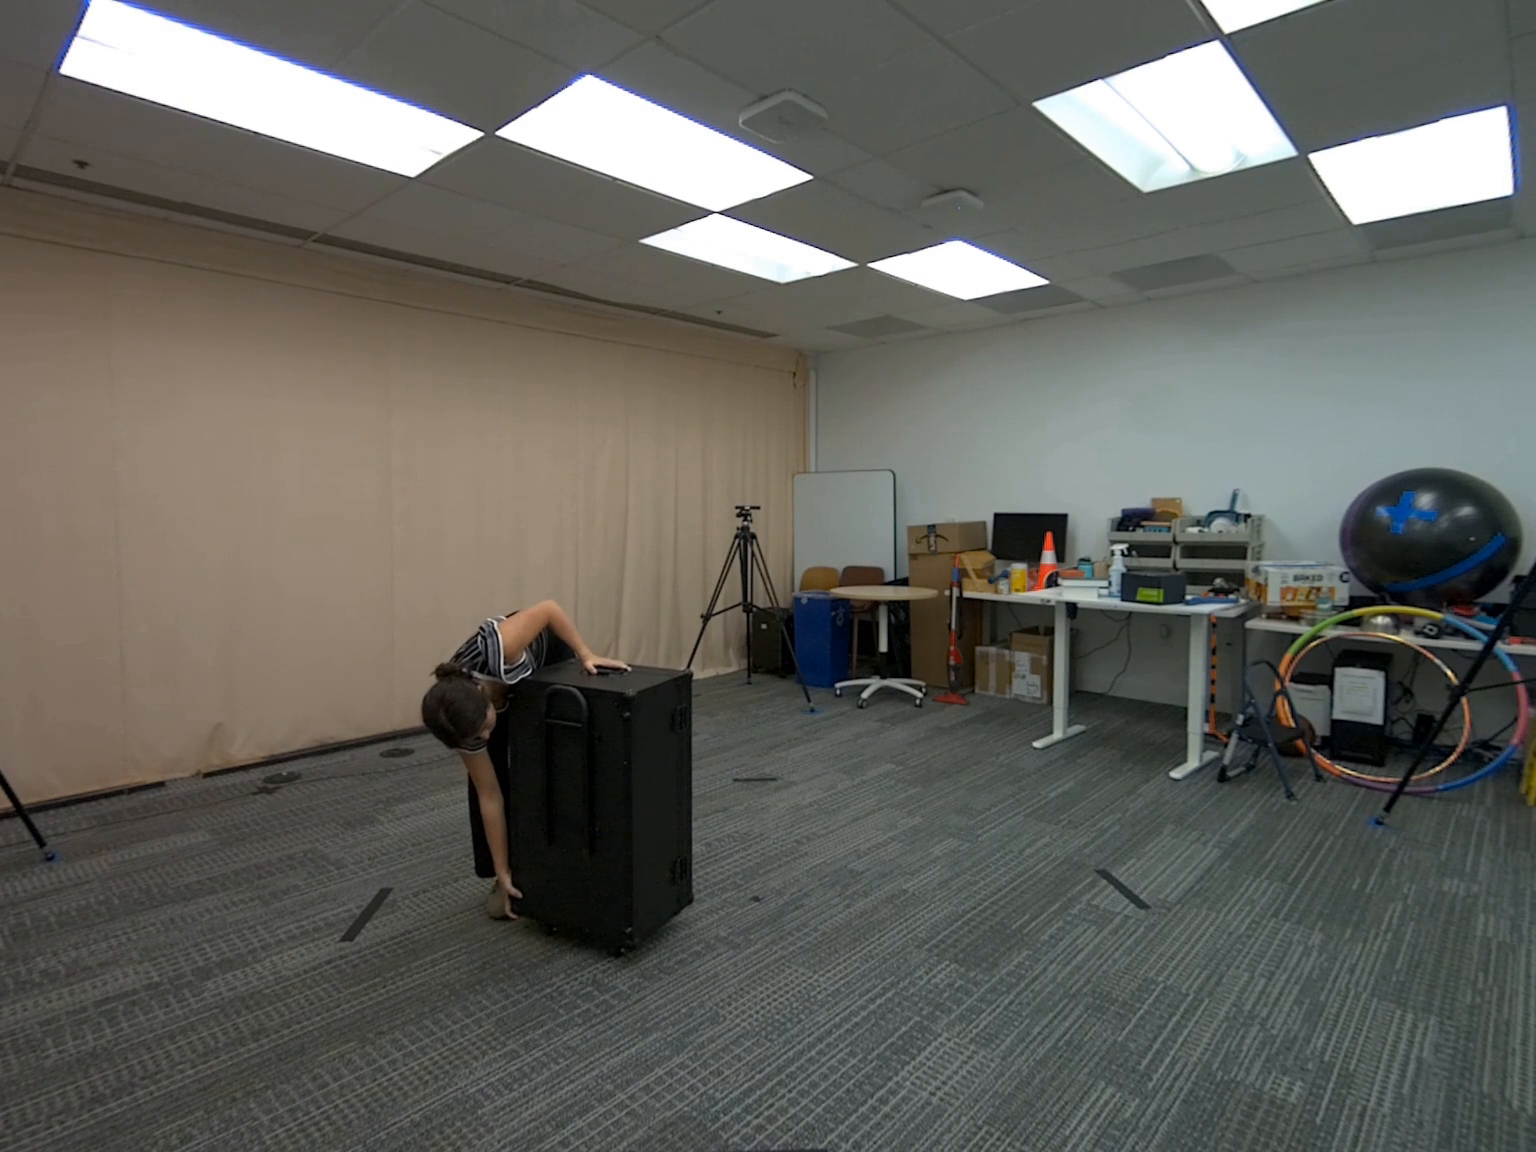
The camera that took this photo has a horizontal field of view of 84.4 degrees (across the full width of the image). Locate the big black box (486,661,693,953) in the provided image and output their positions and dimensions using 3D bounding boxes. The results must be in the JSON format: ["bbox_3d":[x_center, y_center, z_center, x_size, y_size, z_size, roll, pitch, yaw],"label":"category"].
[{"bbox_3d":[-0.530,0.750,2.740,0.536,0.858,0.386,2,6,29],"label":"big black box"}]
